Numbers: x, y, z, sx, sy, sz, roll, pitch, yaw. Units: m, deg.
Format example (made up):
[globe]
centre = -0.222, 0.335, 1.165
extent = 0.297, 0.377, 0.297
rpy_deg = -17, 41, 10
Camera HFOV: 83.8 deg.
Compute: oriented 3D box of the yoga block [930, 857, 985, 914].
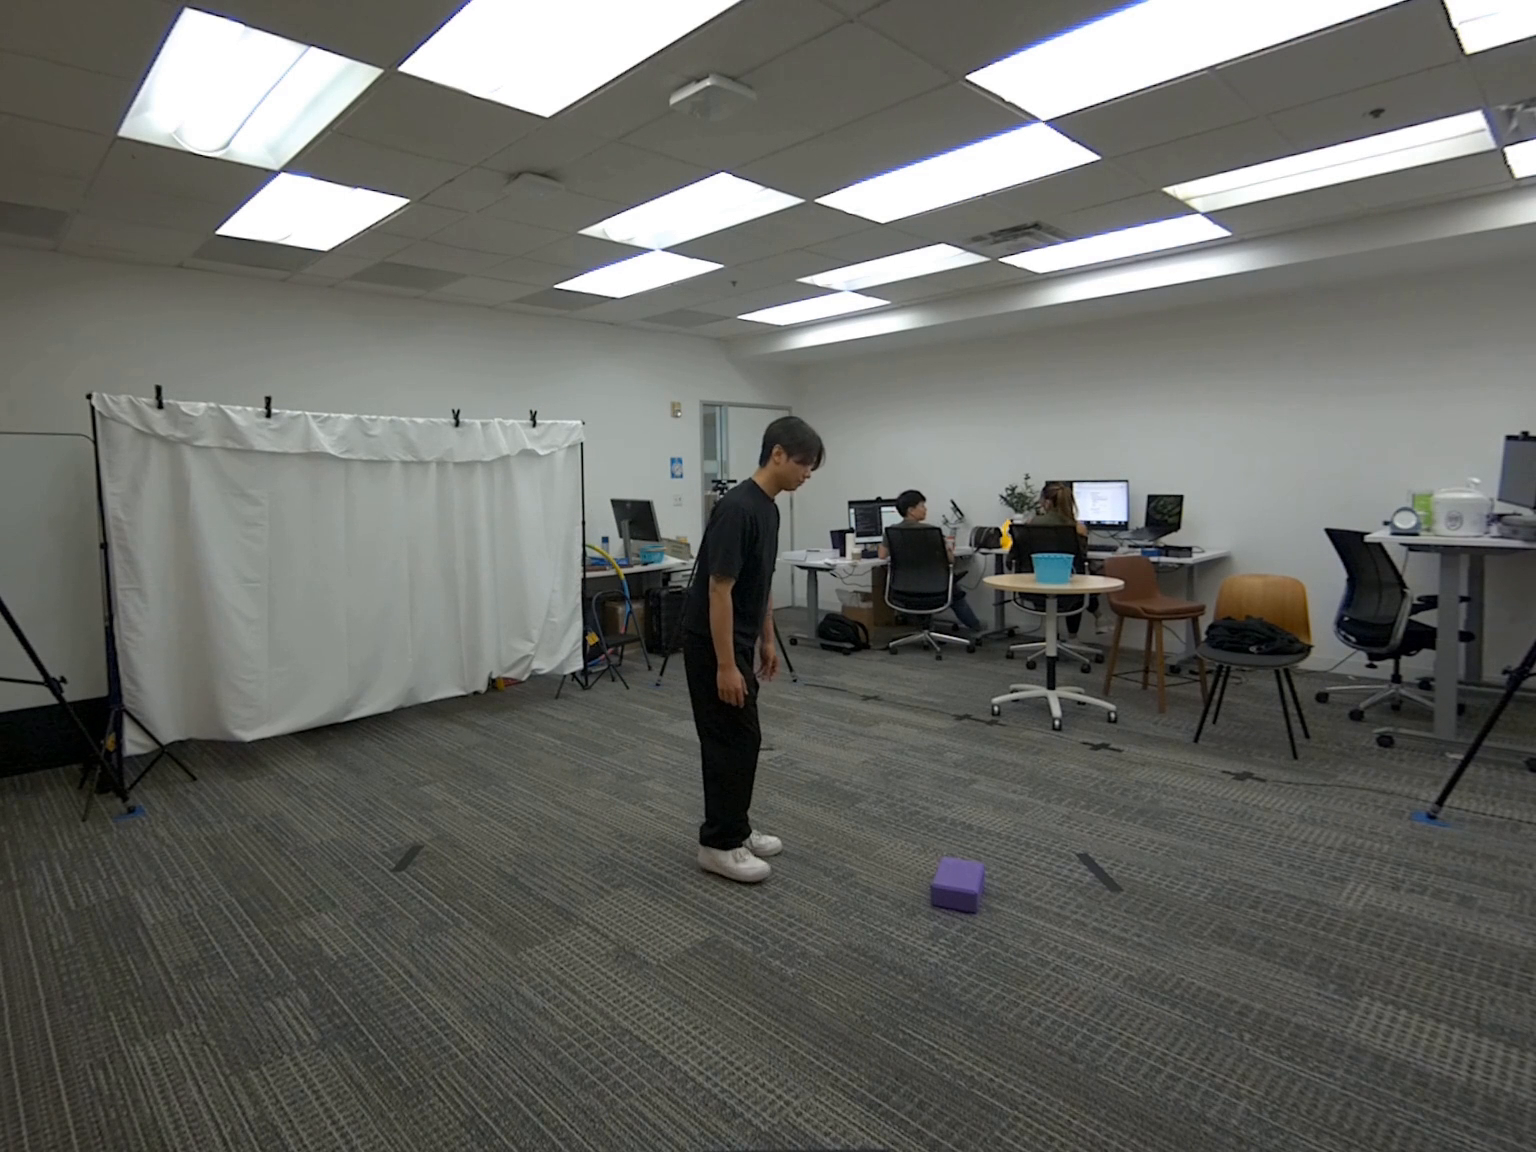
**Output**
[yoga block]
centre = 0.637, 1.025, 2.846
extent = 0.152, 0.076, 0.226
rpy_deg = 1, 6, 20
